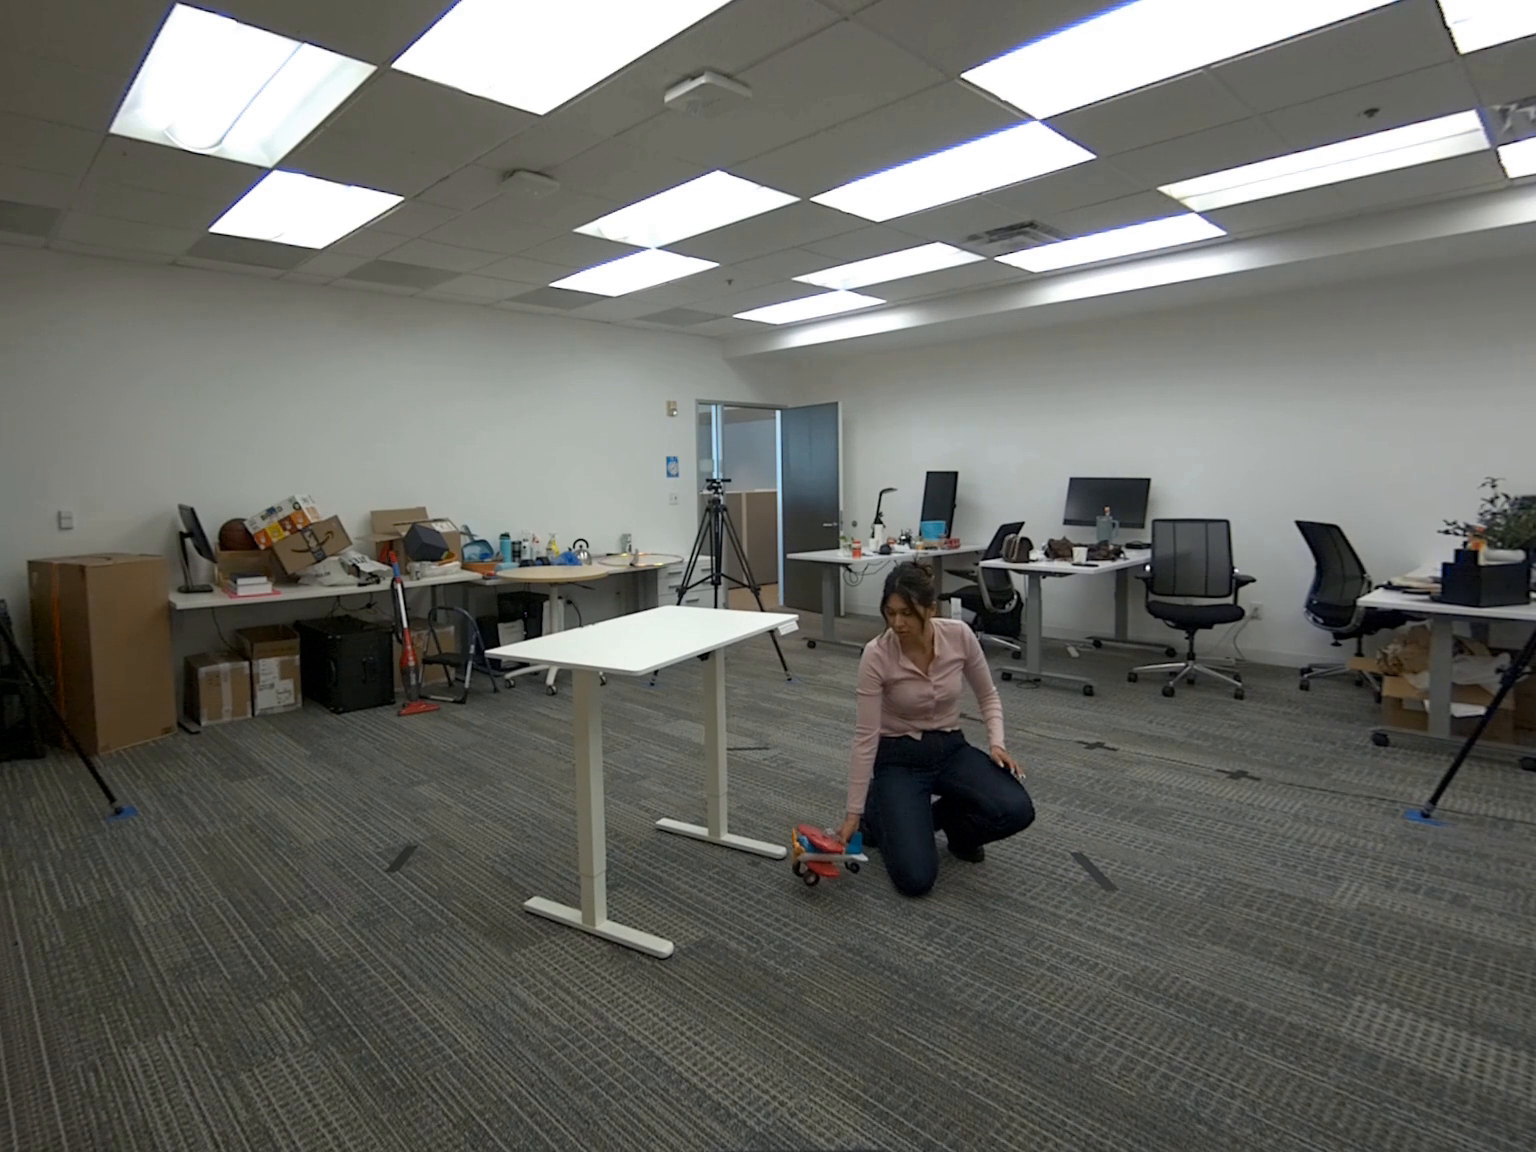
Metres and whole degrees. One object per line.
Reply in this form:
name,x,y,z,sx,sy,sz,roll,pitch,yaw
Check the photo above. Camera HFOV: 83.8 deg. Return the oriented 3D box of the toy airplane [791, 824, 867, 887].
toy airplane,0.208,0.946,2.907,0.258,0.156,0.253,-1,5,42
